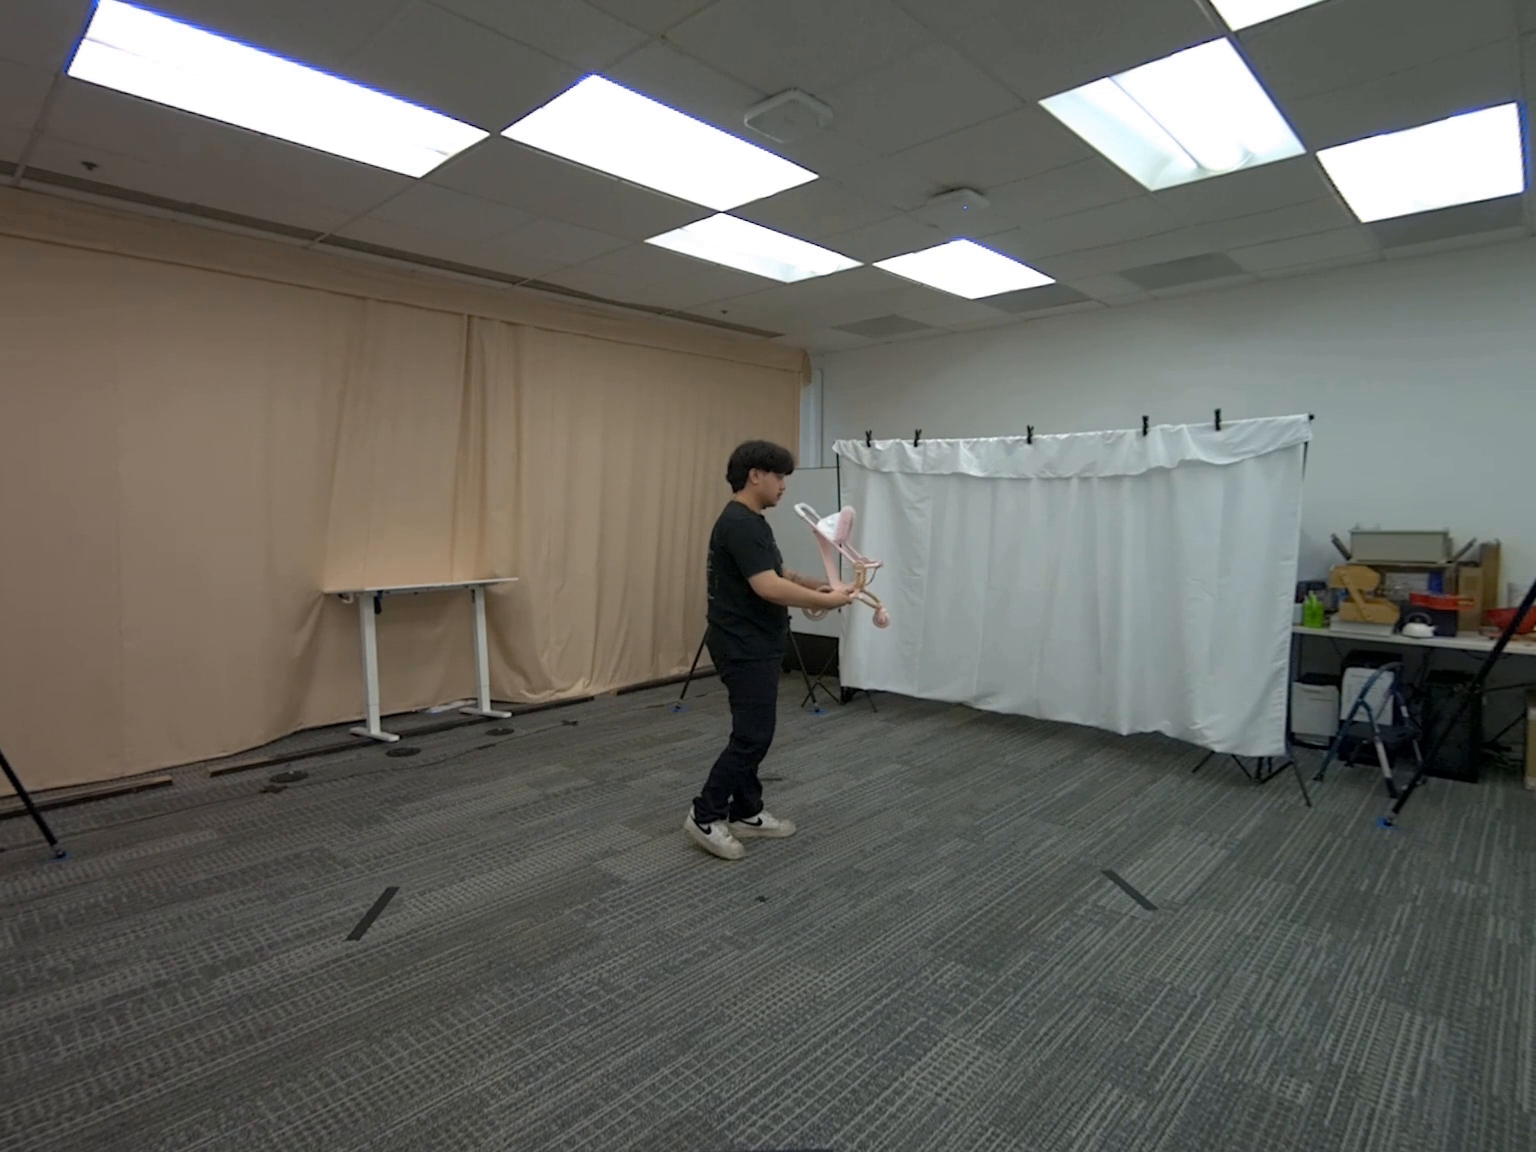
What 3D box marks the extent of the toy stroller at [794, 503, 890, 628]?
[{"bbox_3d":[0.315,-0.044,3.429,0.348,0.534,0.276,-5,2,20],"label":"toy stroller"}]
